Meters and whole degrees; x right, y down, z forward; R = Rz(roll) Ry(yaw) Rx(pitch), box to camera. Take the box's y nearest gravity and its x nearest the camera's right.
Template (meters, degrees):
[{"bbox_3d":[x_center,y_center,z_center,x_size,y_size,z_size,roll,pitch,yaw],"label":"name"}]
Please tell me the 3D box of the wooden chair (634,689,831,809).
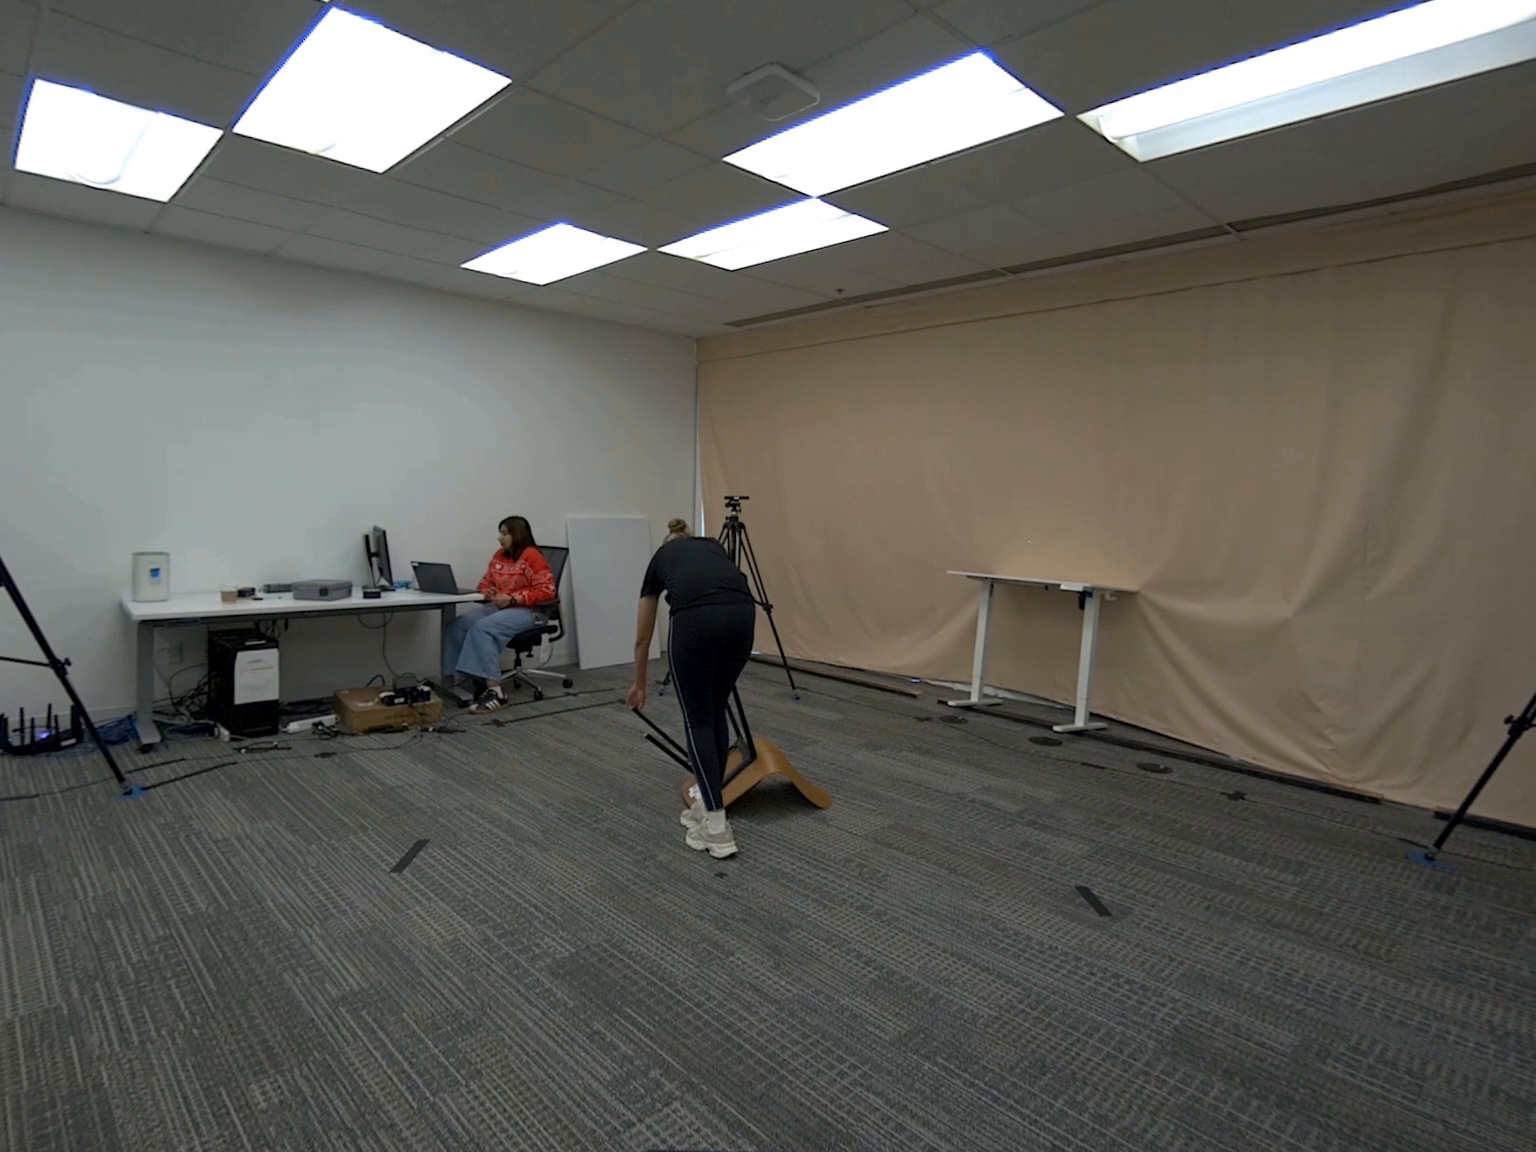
[{"bbox_3d":[-0.188,0.864,3.875,0.522,0.866,0.485,-40,13,-9],"label":"wooden chair"}]
